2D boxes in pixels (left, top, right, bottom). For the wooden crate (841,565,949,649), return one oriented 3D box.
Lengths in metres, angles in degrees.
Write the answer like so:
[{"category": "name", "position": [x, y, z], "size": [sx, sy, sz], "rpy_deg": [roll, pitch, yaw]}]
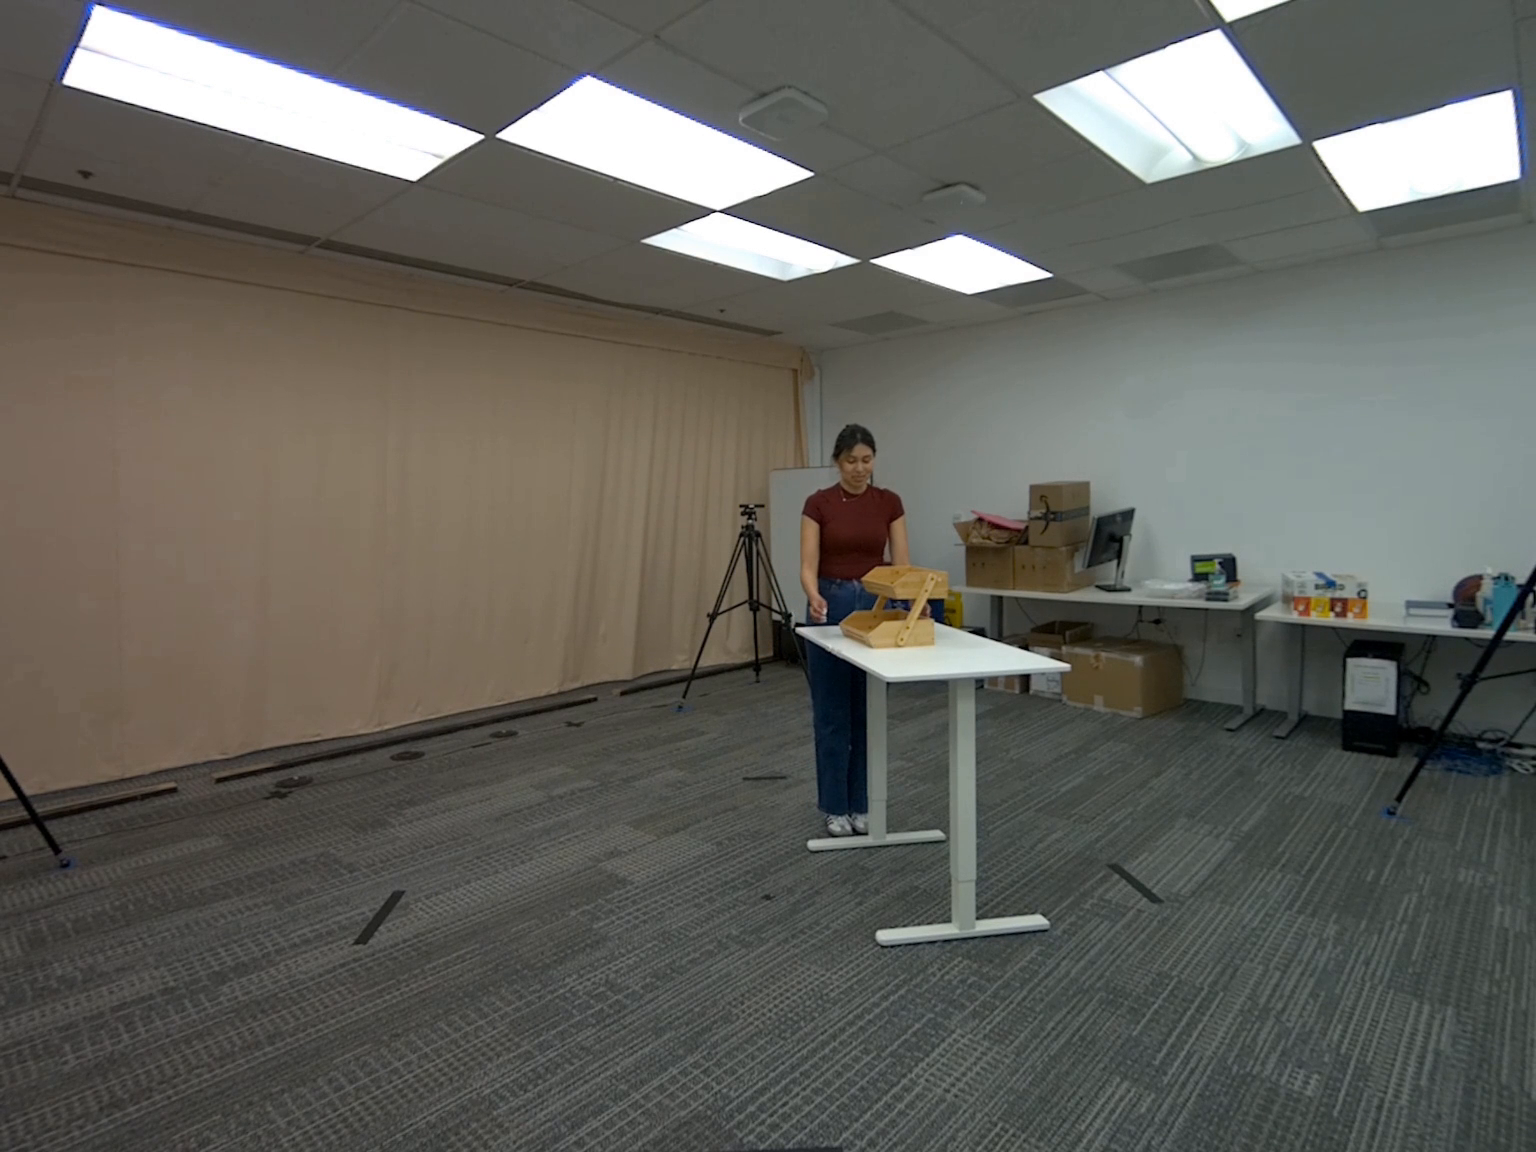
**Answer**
[{"category": "wooden crate", "position": [0.453, 0.105, 3.116], "size": [0.298, 0.272, 0.330], "rpy_deg": [-1, 5, -14]}]
